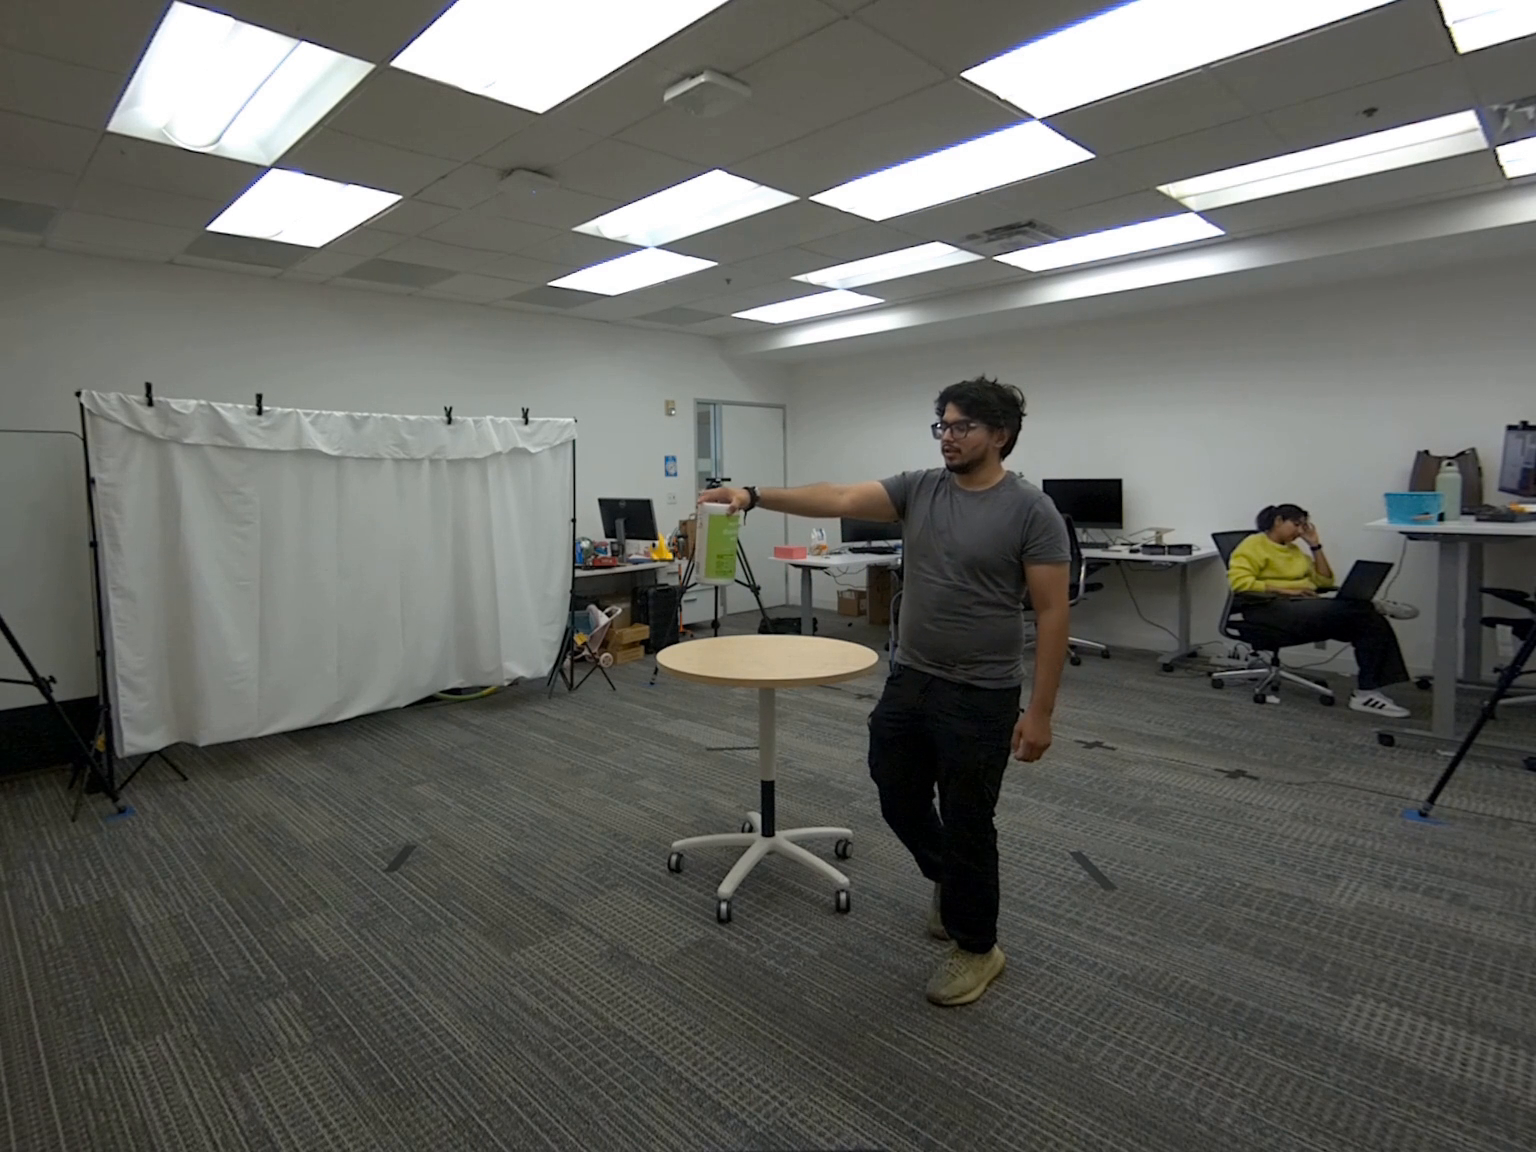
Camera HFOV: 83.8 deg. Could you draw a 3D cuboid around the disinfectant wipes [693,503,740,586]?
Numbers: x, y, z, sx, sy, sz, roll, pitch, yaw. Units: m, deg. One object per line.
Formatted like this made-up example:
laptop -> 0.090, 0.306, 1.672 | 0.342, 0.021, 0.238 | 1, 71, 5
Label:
disinfectant wipes -> -0.126, -0.083, 2.257 | 0.118, 0.216, 0.118 | 1, 5, -2
